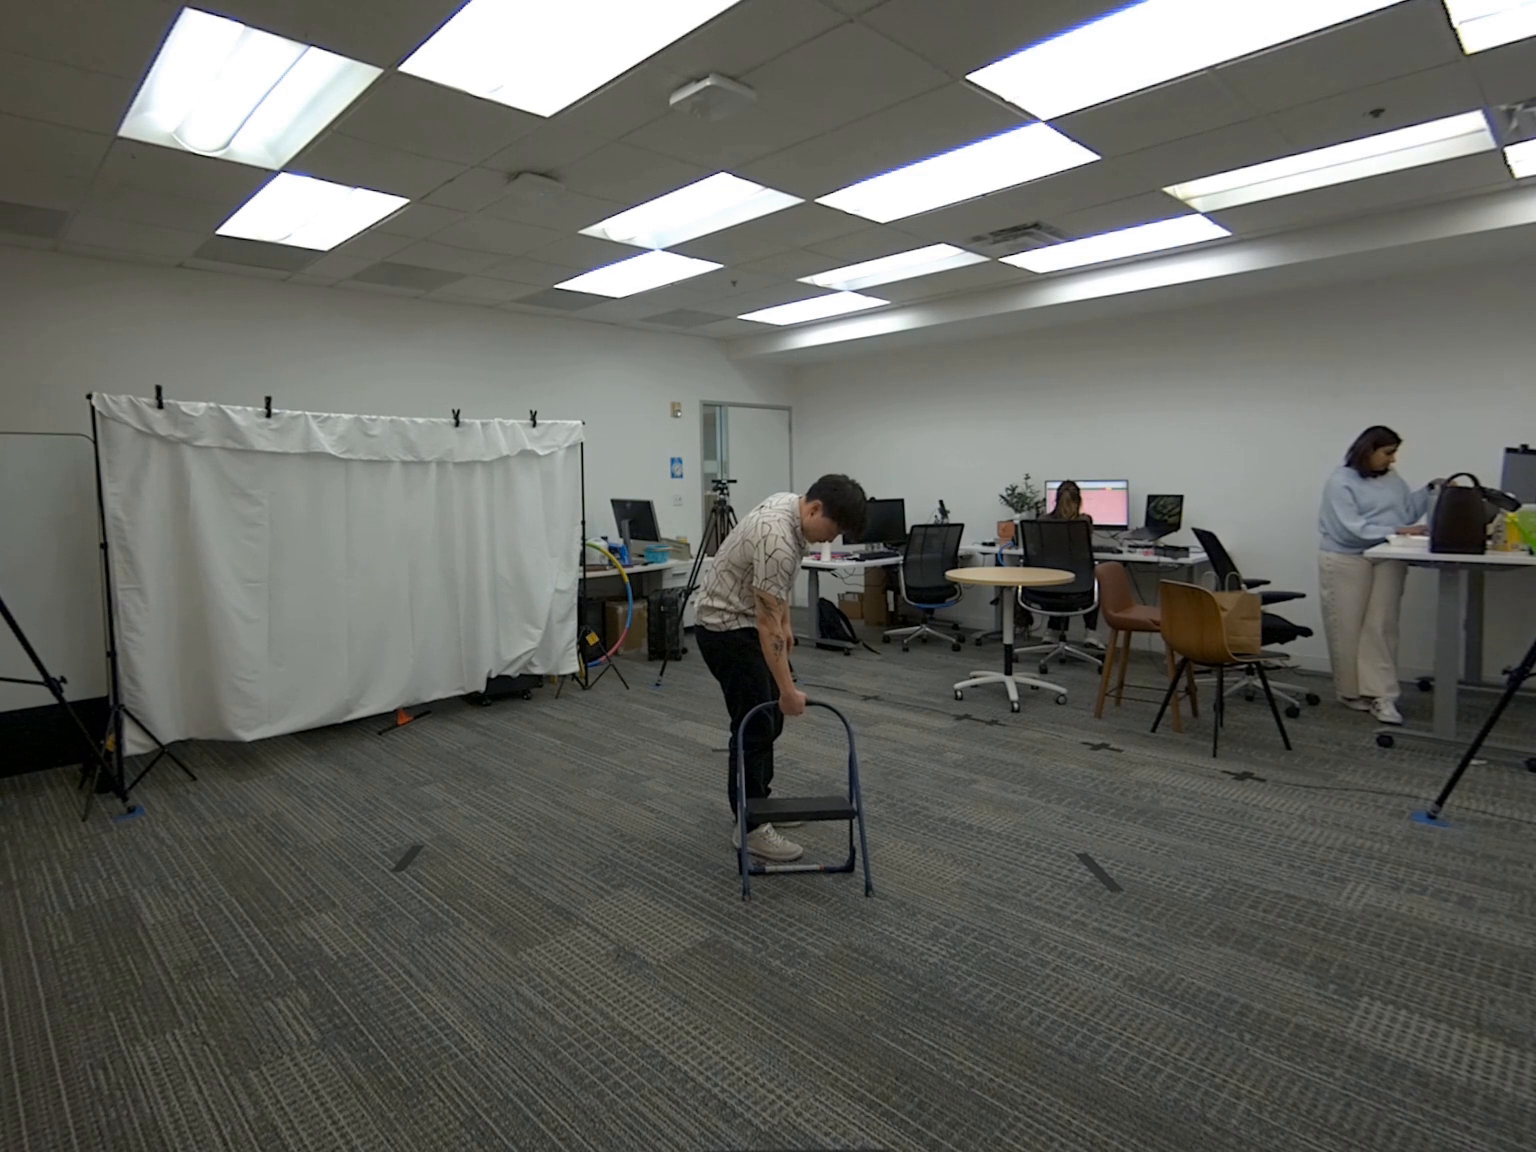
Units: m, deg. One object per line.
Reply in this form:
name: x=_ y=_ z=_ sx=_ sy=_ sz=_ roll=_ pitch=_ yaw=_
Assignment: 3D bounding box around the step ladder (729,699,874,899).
step ladder: x=0.112 y=0.748 z=2.918 sx=0.429 sy=0.610 sz=0.348 roll=-1 pitch=-7 yaw=-4
